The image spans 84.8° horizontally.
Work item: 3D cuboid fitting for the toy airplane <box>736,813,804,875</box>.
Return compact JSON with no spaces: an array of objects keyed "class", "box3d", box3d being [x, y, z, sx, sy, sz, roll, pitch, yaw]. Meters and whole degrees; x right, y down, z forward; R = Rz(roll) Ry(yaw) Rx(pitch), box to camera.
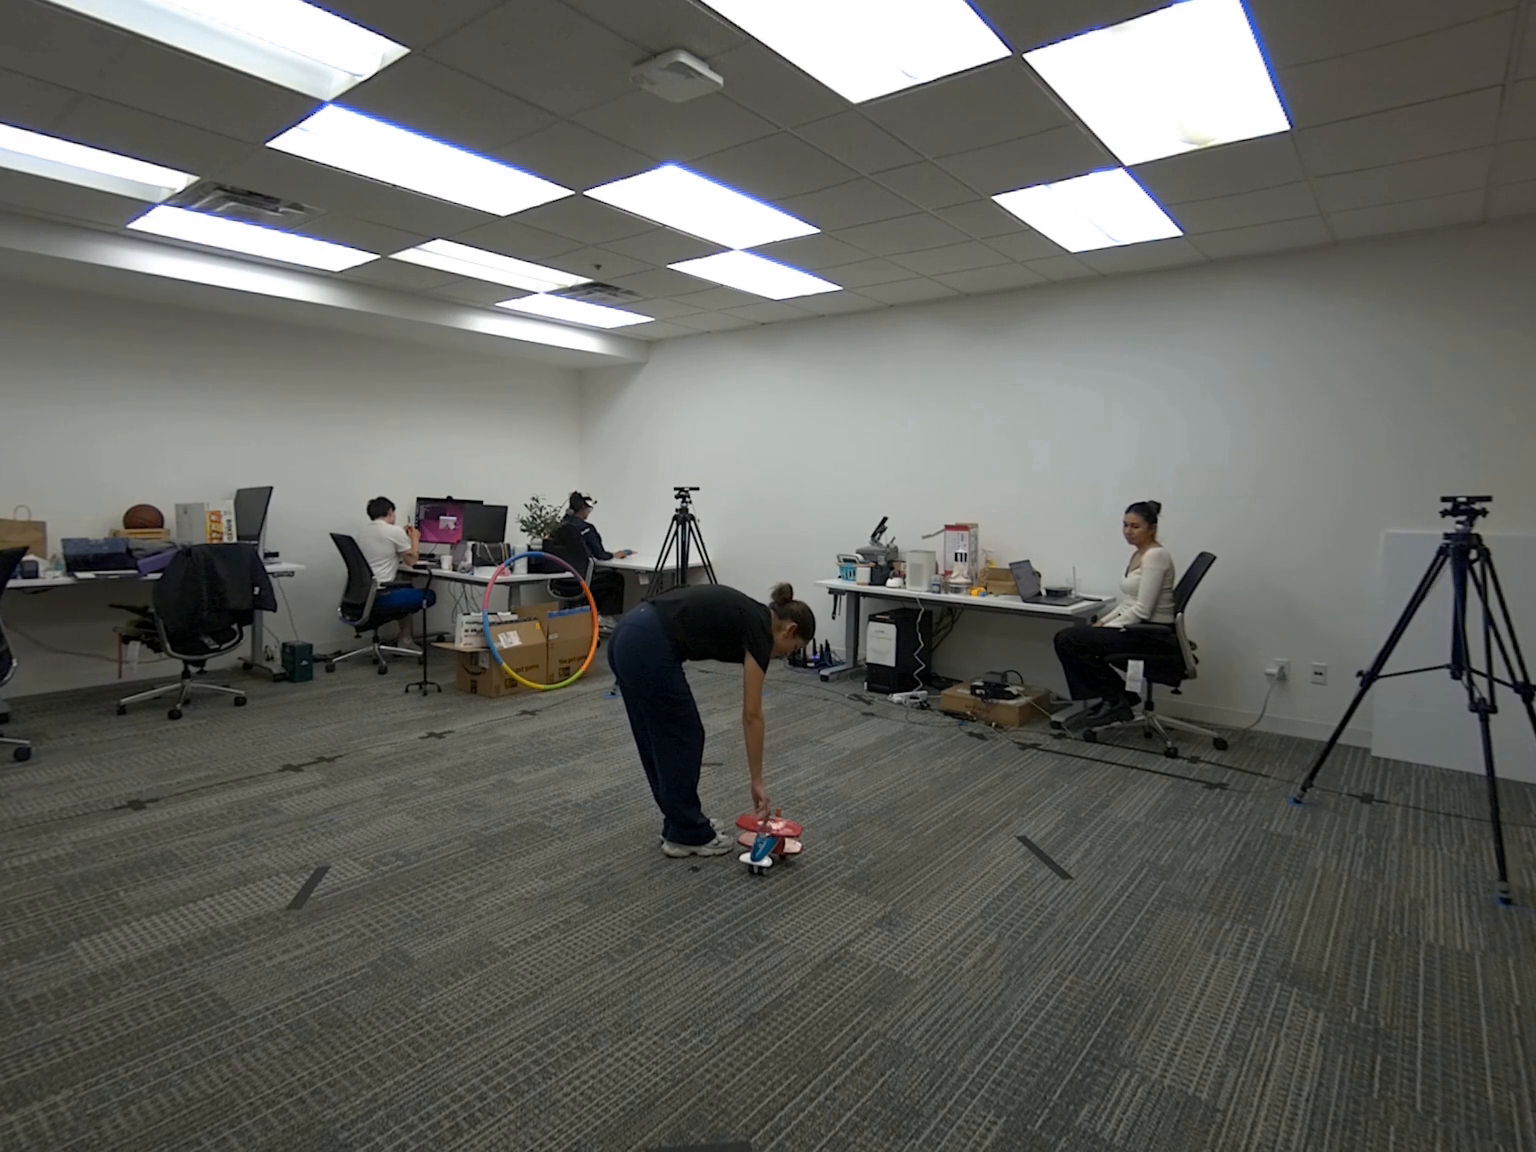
[{"class":"toy airplane","box3d":[0.026,0.994,3.155,0.249,0.156,0.261,1,4,-6]}]
